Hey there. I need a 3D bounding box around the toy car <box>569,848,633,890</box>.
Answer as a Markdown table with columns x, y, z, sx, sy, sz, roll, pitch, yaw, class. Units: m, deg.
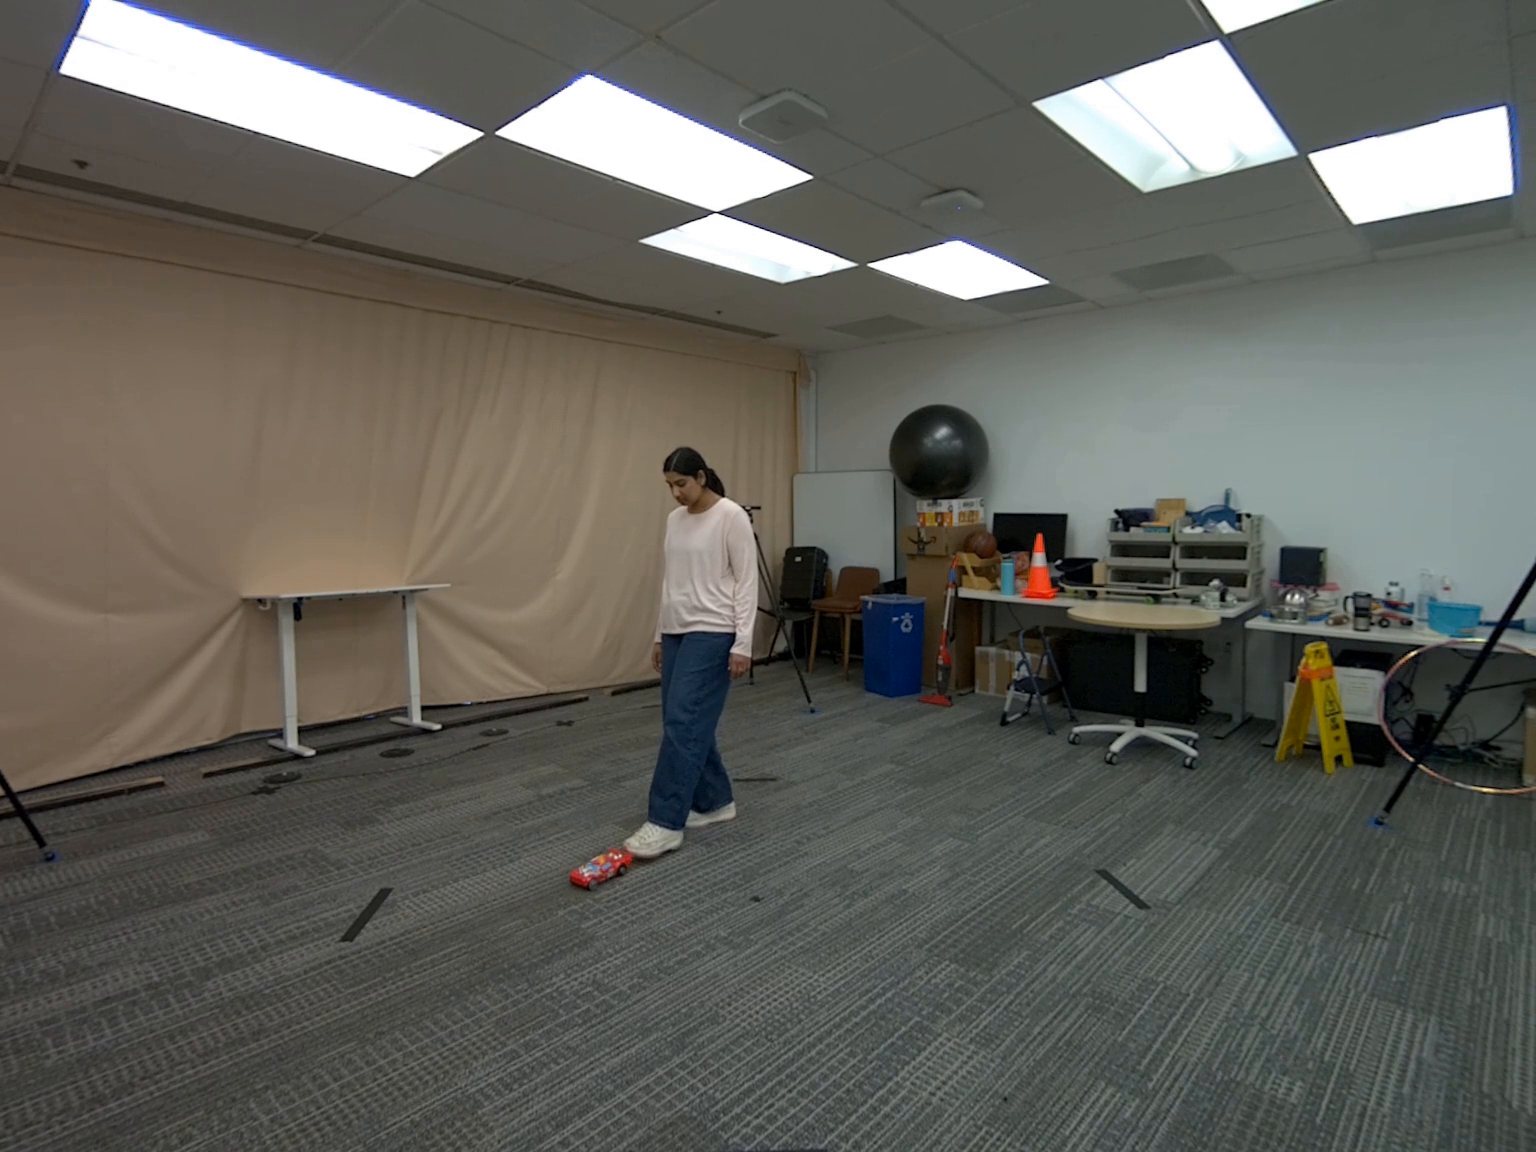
| x | y | z | sx | sy | sz | roll | pitch | yaw | class |
| --- | --- | --- | --- | --- | --- | --- | --- | --- | --- |
| -0.621 | 1.100 | 3.170 | 0.134 | 0.082 | 0.249 | 1 | 16 | 39 | toy car |
